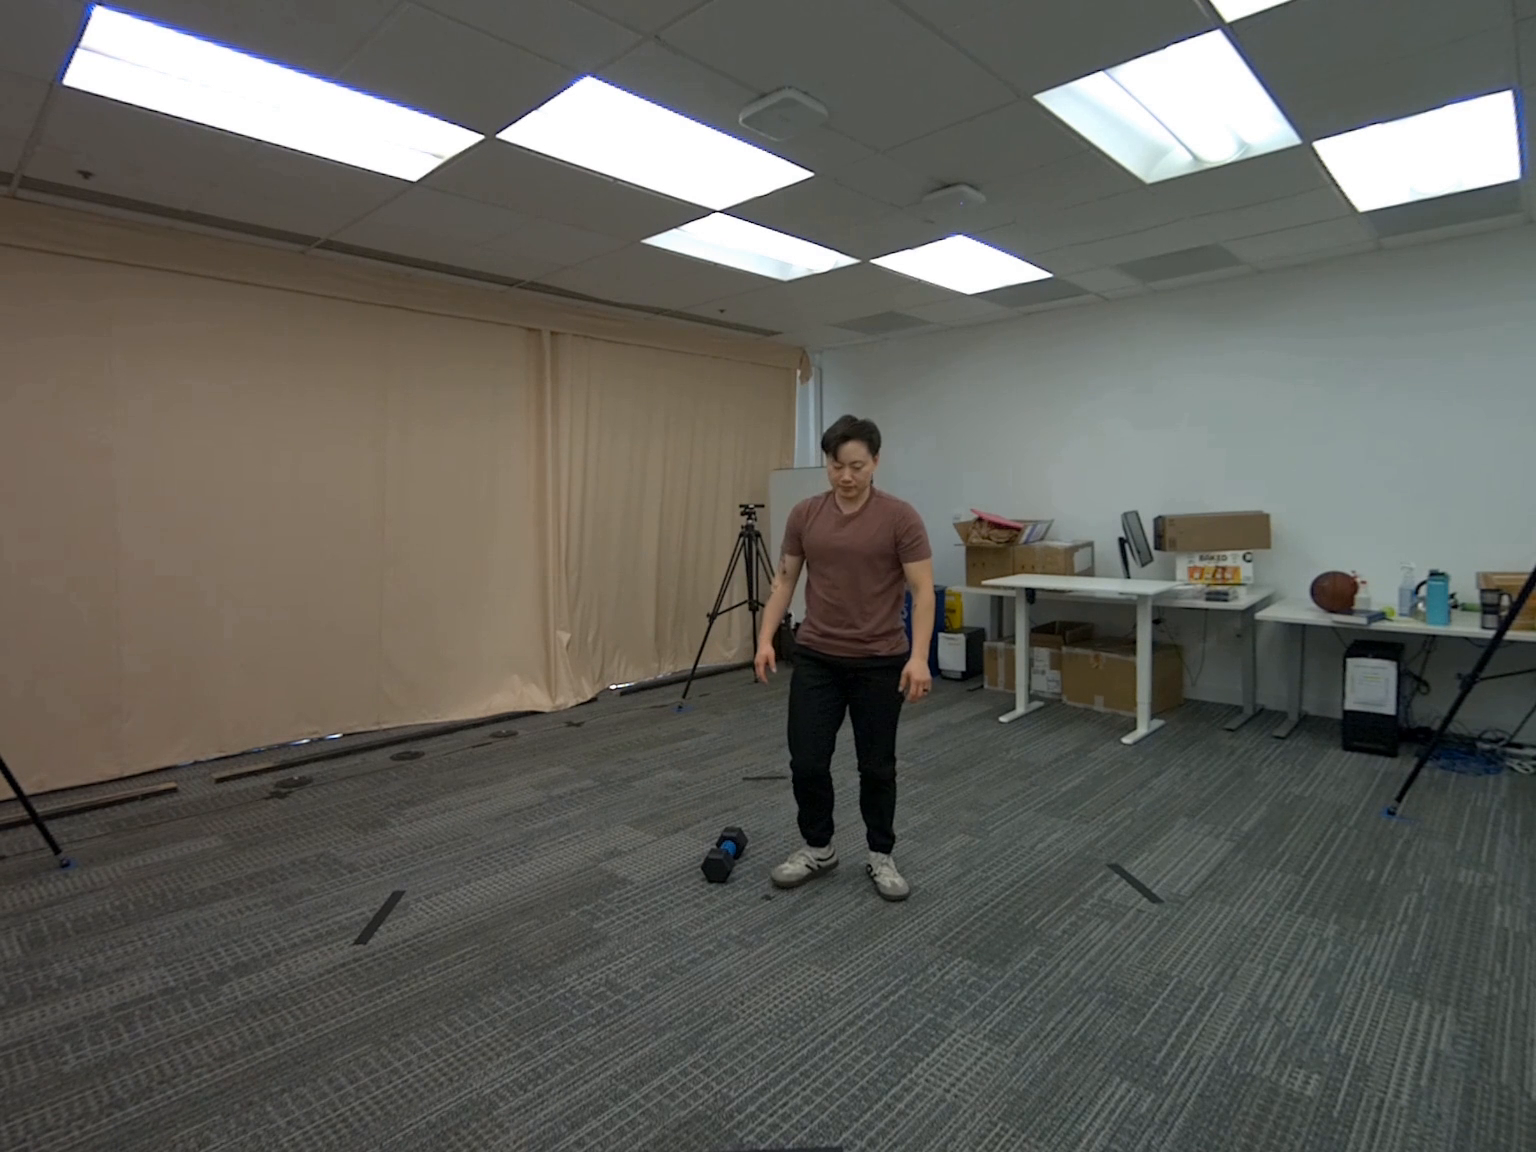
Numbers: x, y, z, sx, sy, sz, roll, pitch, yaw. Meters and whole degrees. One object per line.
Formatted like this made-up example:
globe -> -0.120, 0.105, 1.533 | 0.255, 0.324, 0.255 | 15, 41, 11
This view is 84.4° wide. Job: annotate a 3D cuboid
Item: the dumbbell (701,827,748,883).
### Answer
dumbbell -> -0.165, 1.067, 3.234 | 0.110, 0.123, 0.290 | 30, 11, 8
